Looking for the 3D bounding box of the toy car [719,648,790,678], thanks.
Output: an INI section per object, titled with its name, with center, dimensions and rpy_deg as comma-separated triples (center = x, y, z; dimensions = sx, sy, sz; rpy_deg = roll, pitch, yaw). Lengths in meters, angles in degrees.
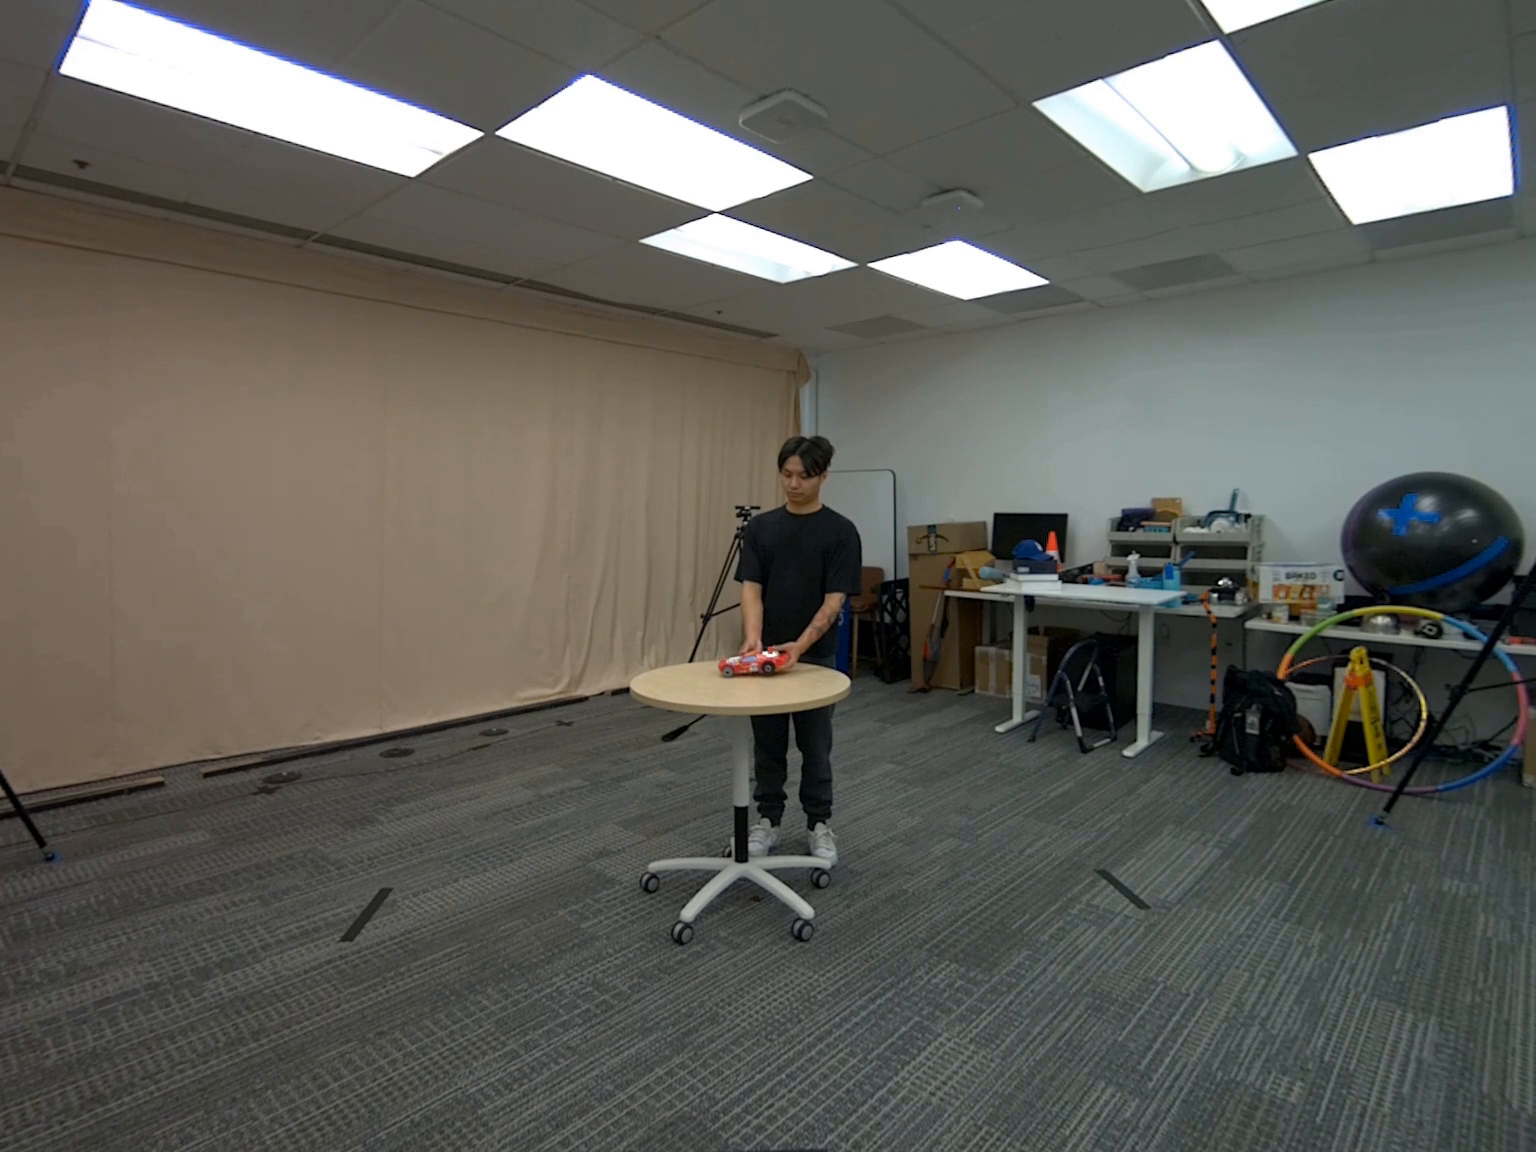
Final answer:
[toy car]
center = -0.052, 0.315, 3.022
dimensions = 0.256, 0.083, 0.130
rpy_deg = -13, 3, 5
